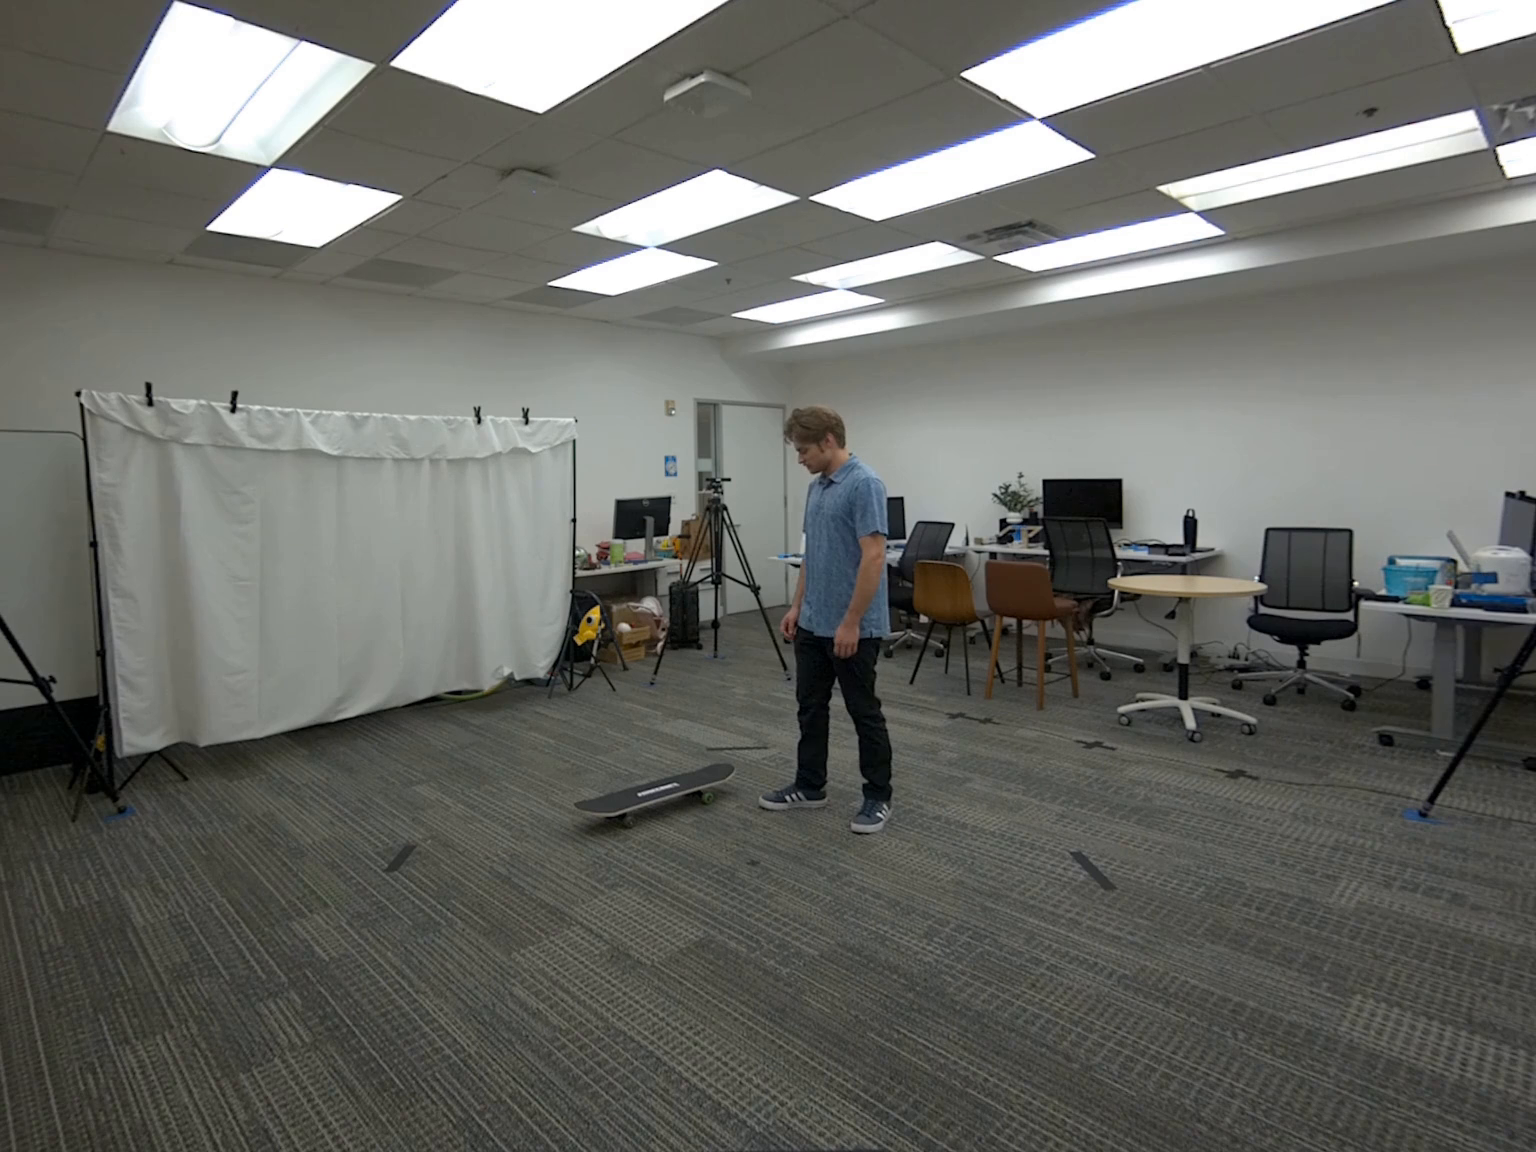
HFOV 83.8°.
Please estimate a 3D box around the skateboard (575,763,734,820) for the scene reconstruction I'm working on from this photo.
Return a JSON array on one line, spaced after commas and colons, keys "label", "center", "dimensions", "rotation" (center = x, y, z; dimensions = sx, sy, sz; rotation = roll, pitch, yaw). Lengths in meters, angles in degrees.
[{"label": "skateboard", "center": [-0.460, 0.932, 3.619], "dimensions": [0.765, 0.110, 0.199], "rotation": [-6, 7, -39]}]
